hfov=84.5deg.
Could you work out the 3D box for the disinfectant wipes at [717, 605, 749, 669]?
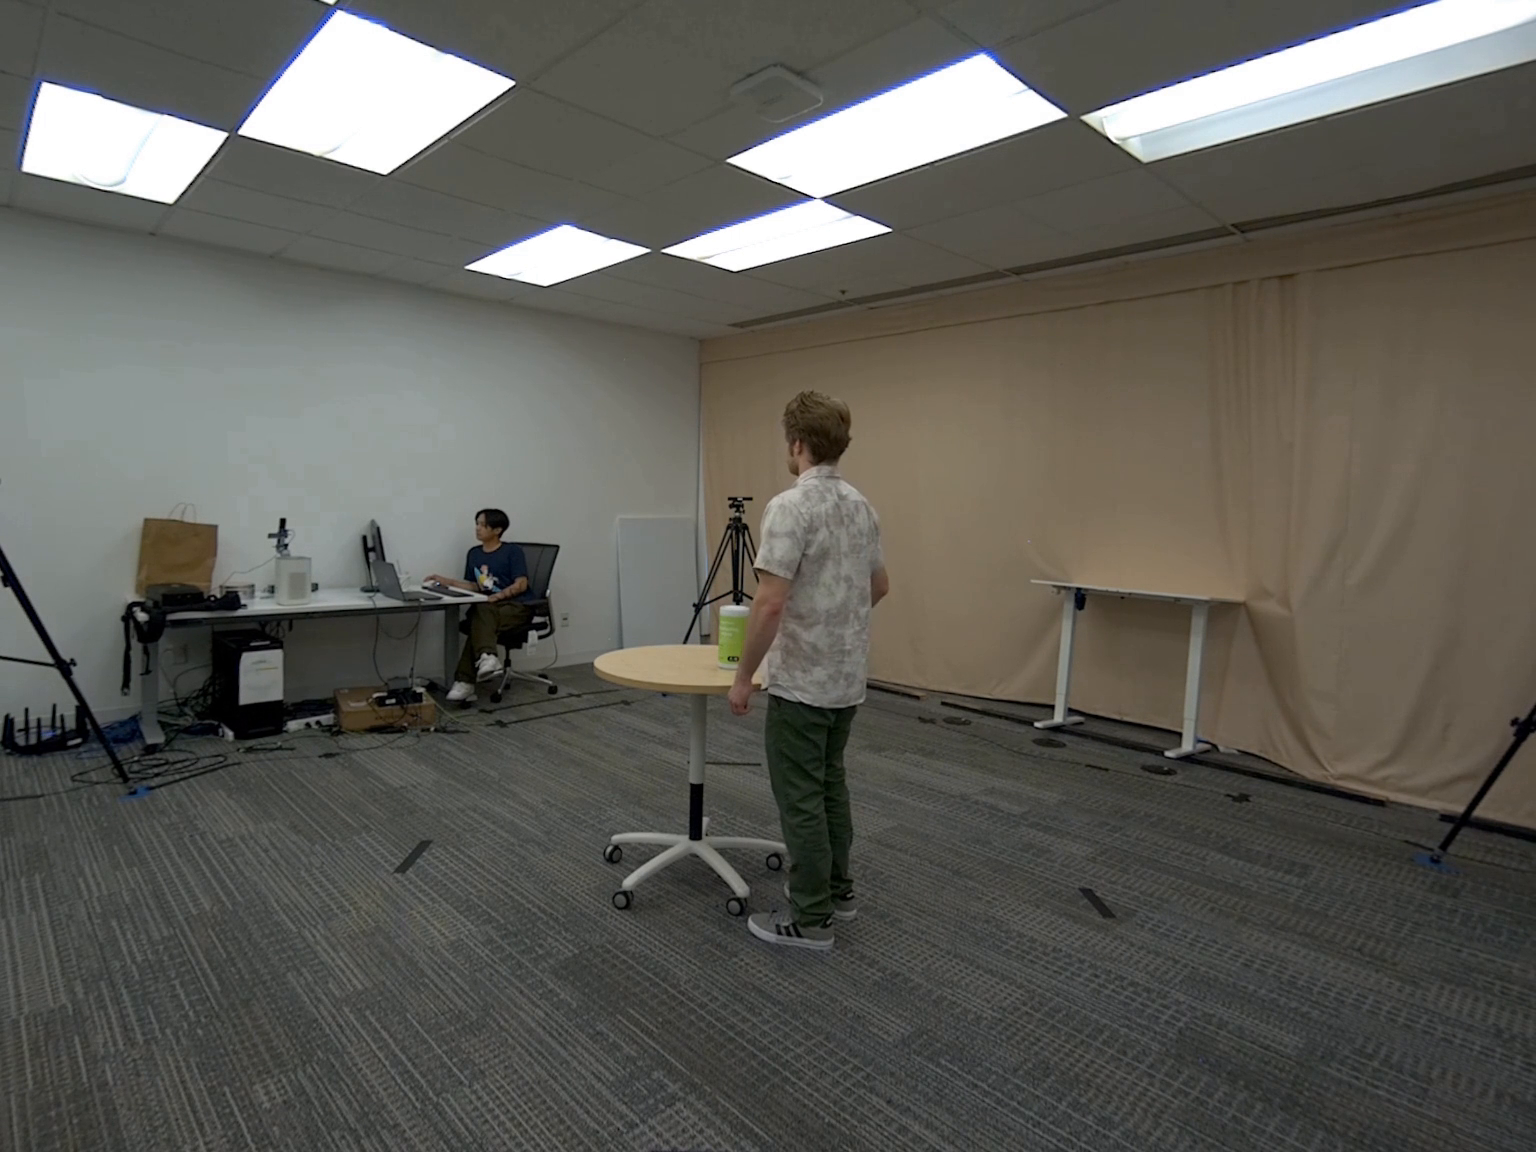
[{"bbox_3d":[-0.131,0.221,2.996,0.118,0.217,0.118,1,5,-1],"label":"disinfectant wipes"}]
